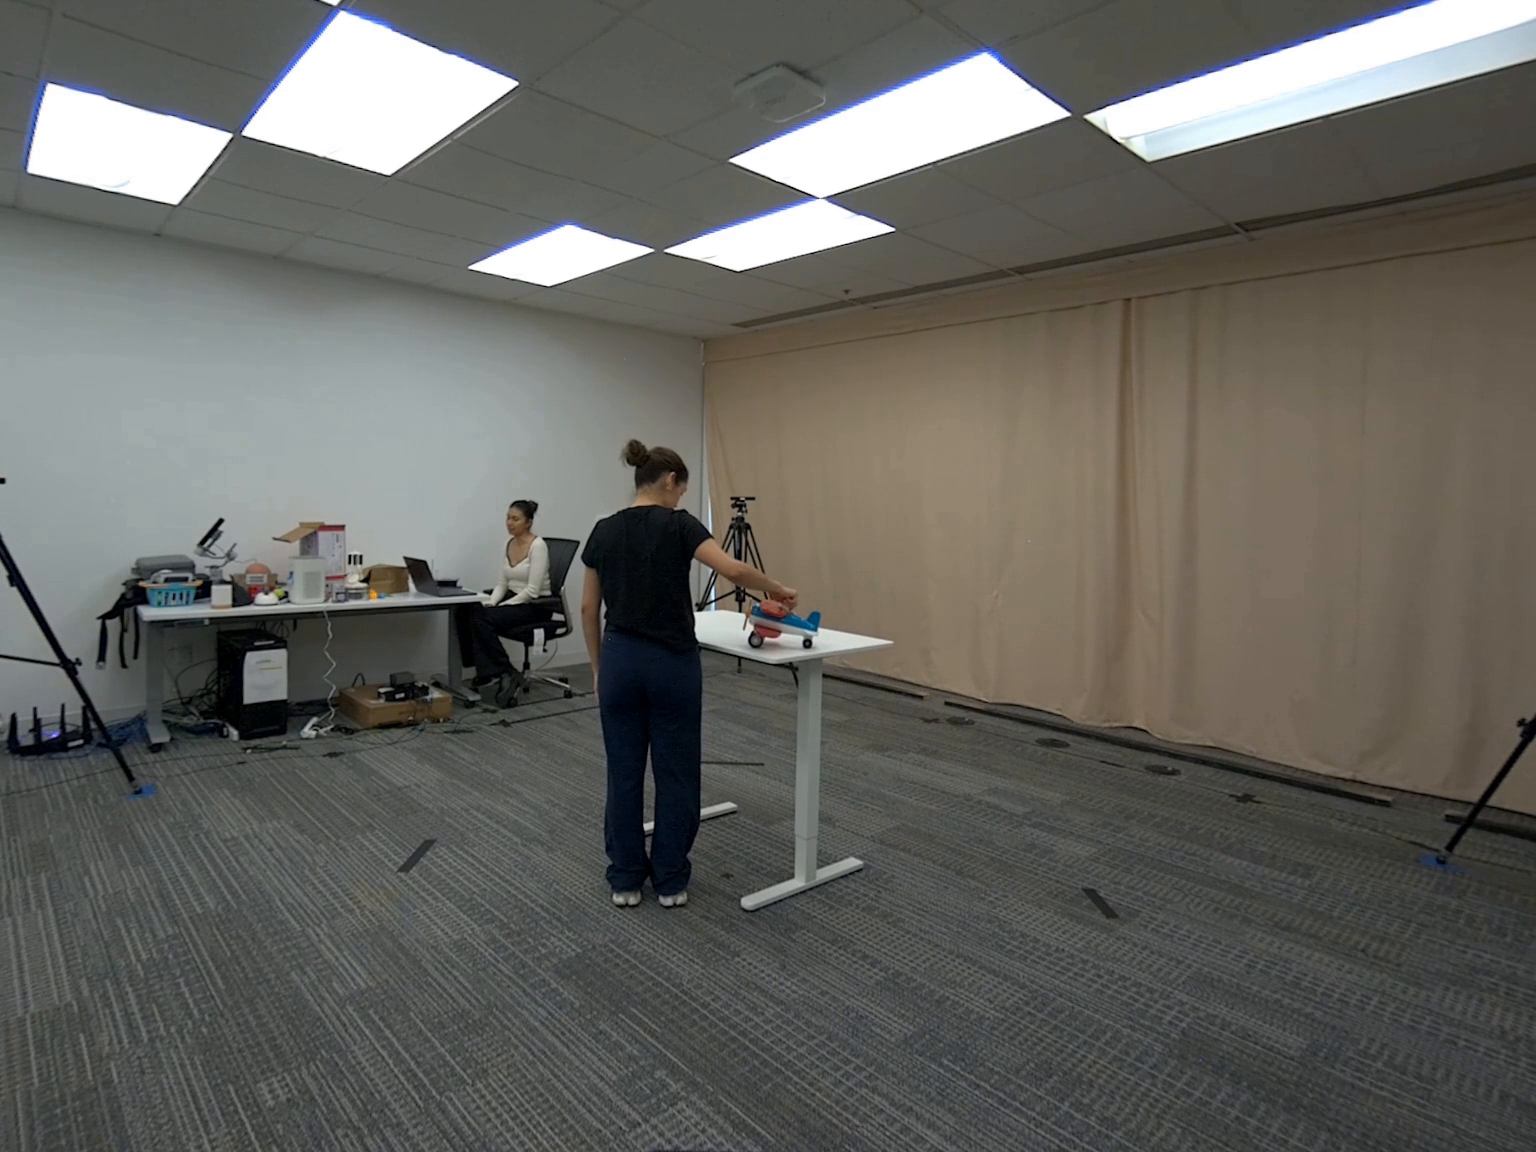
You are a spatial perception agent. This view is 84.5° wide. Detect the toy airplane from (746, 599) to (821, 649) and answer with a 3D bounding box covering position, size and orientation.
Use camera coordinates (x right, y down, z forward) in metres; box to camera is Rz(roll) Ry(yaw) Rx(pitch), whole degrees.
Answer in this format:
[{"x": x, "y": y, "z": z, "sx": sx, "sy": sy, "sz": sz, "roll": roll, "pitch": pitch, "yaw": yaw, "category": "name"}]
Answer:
[{"x": 0.038, "y": 0.170, "z": 2.917, "sx": 0.255, "sy": 0.156, "sz": 0.256, "roll": -1, "pitch": 6, "yaw": -23, "category": "toy airplane"}]
